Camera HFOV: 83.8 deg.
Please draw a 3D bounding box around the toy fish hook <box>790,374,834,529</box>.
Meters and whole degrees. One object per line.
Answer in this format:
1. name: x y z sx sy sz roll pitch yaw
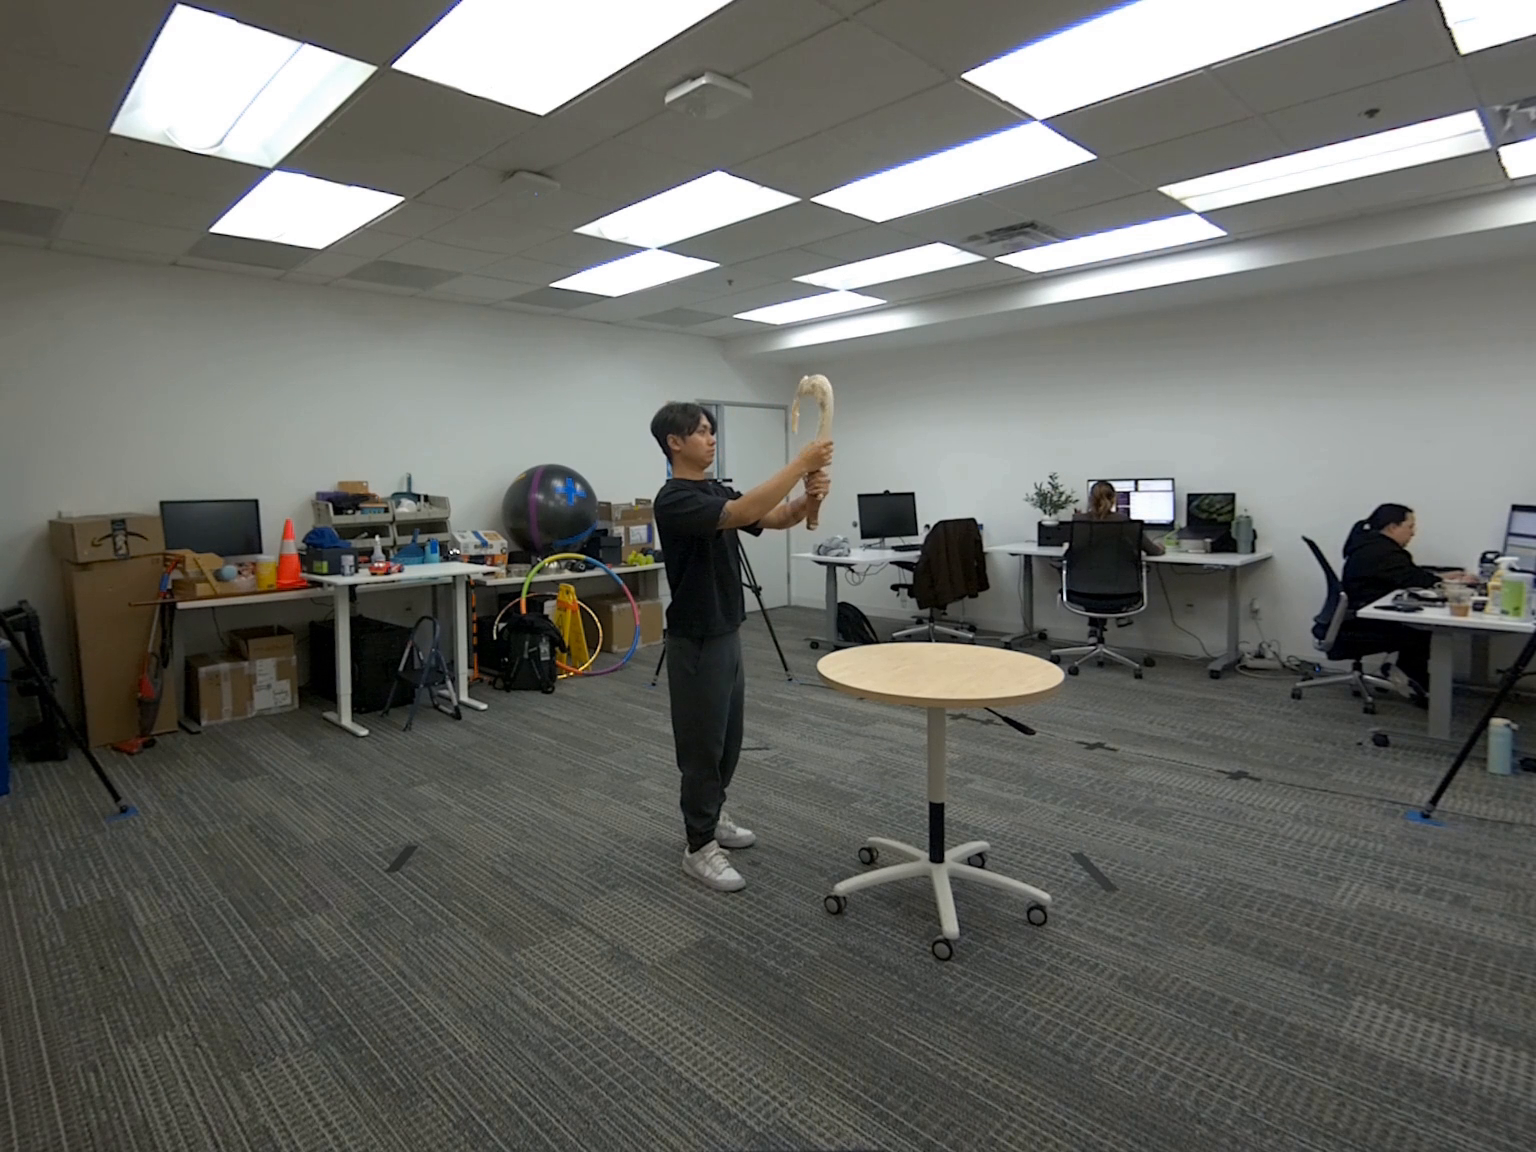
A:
1. toy fish hook: 0.143 -0.409 2.826 0.047 0.504 0.231 2 6 -28
